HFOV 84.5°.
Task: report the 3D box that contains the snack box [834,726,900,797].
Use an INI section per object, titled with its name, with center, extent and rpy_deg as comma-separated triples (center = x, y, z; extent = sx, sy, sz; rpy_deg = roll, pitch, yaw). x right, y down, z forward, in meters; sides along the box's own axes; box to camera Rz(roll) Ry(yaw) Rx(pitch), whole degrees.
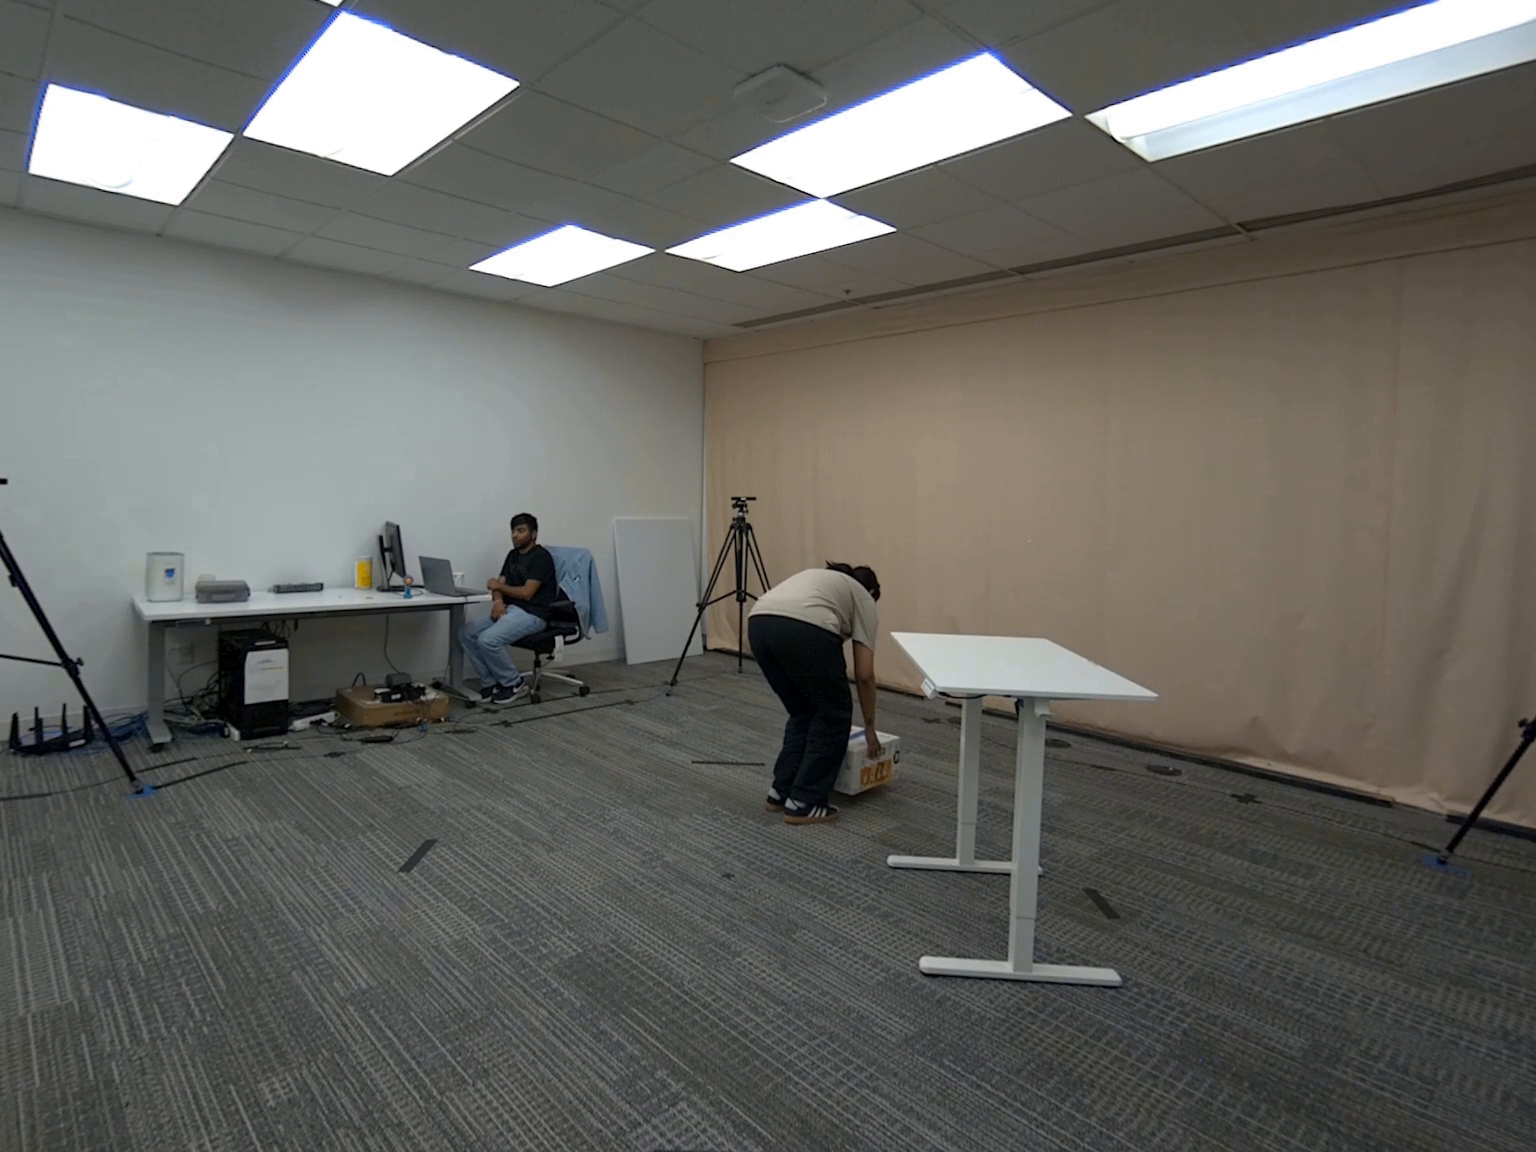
[snack box]
center = 0.373, 0.871, 4.051
extent = 0.349, 0.205, 0.396
rpy_deg = 5, 4, 40
